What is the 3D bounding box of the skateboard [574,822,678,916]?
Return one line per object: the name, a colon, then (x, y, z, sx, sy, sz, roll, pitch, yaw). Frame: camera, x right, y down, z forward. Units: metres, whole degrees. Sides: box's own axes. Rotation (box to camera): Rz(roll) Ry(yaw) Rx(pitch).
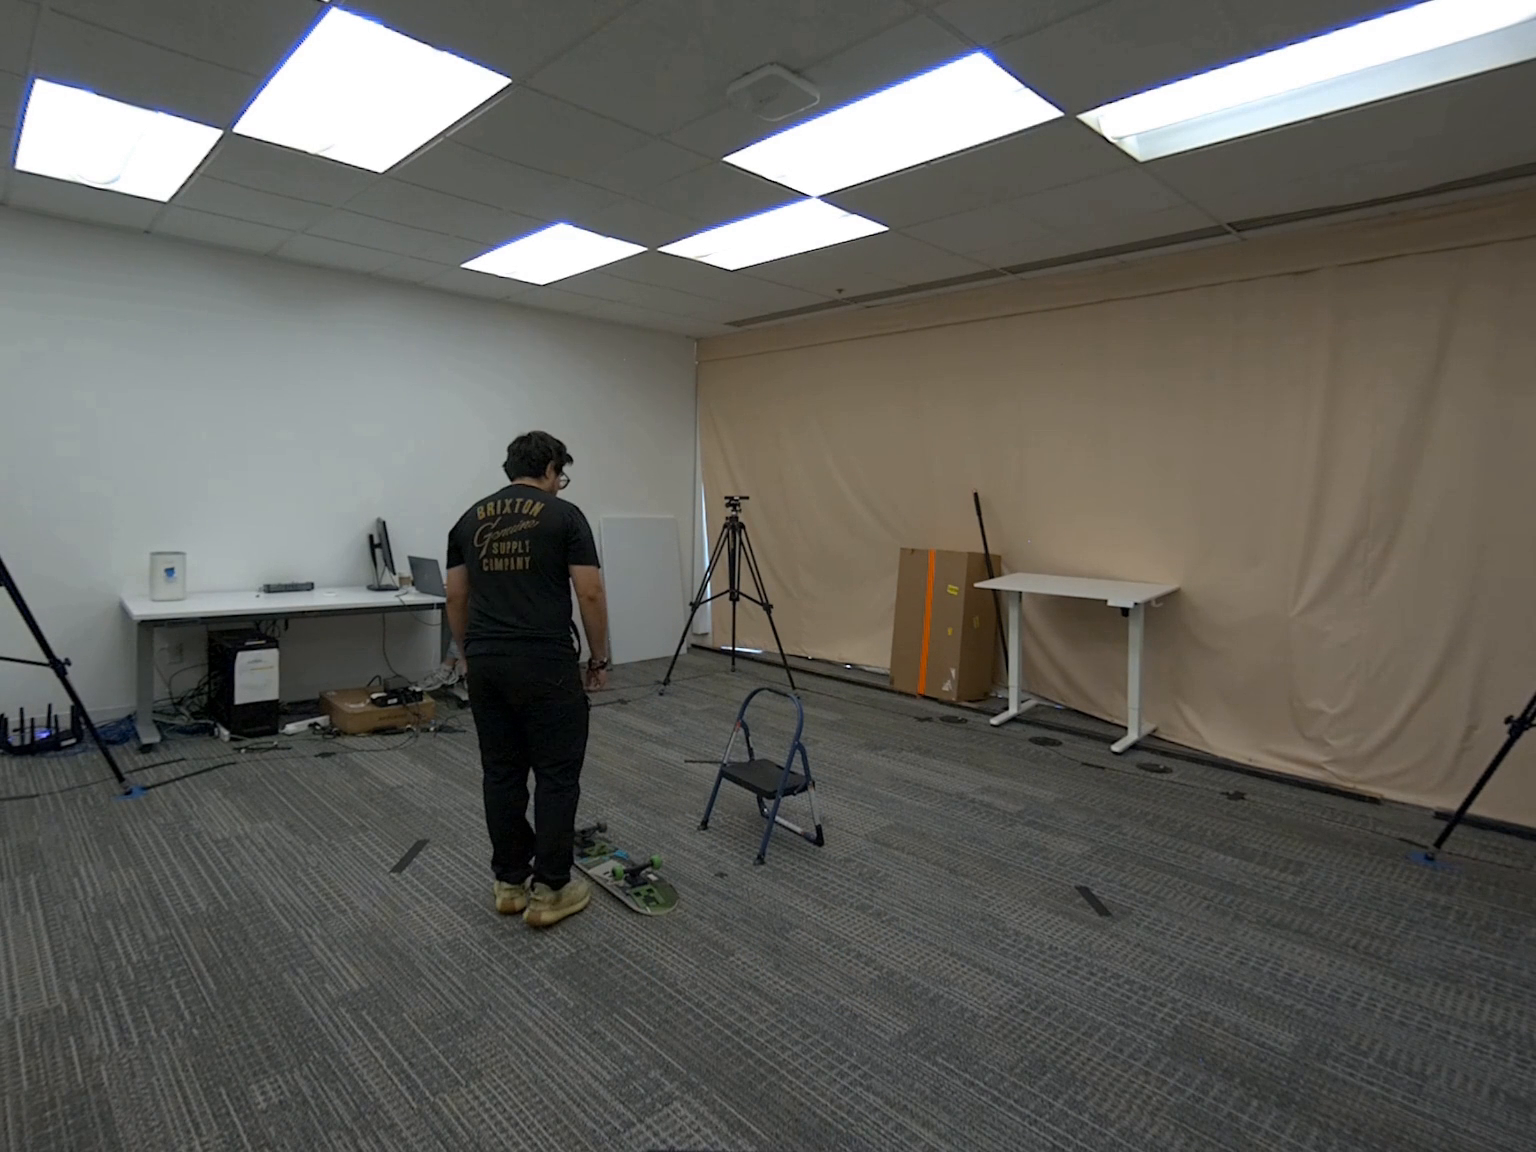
skateboard: (-0.598, 1.044, 3.119, 0.189, 0.110, 0.805, -3, 7, -39)
